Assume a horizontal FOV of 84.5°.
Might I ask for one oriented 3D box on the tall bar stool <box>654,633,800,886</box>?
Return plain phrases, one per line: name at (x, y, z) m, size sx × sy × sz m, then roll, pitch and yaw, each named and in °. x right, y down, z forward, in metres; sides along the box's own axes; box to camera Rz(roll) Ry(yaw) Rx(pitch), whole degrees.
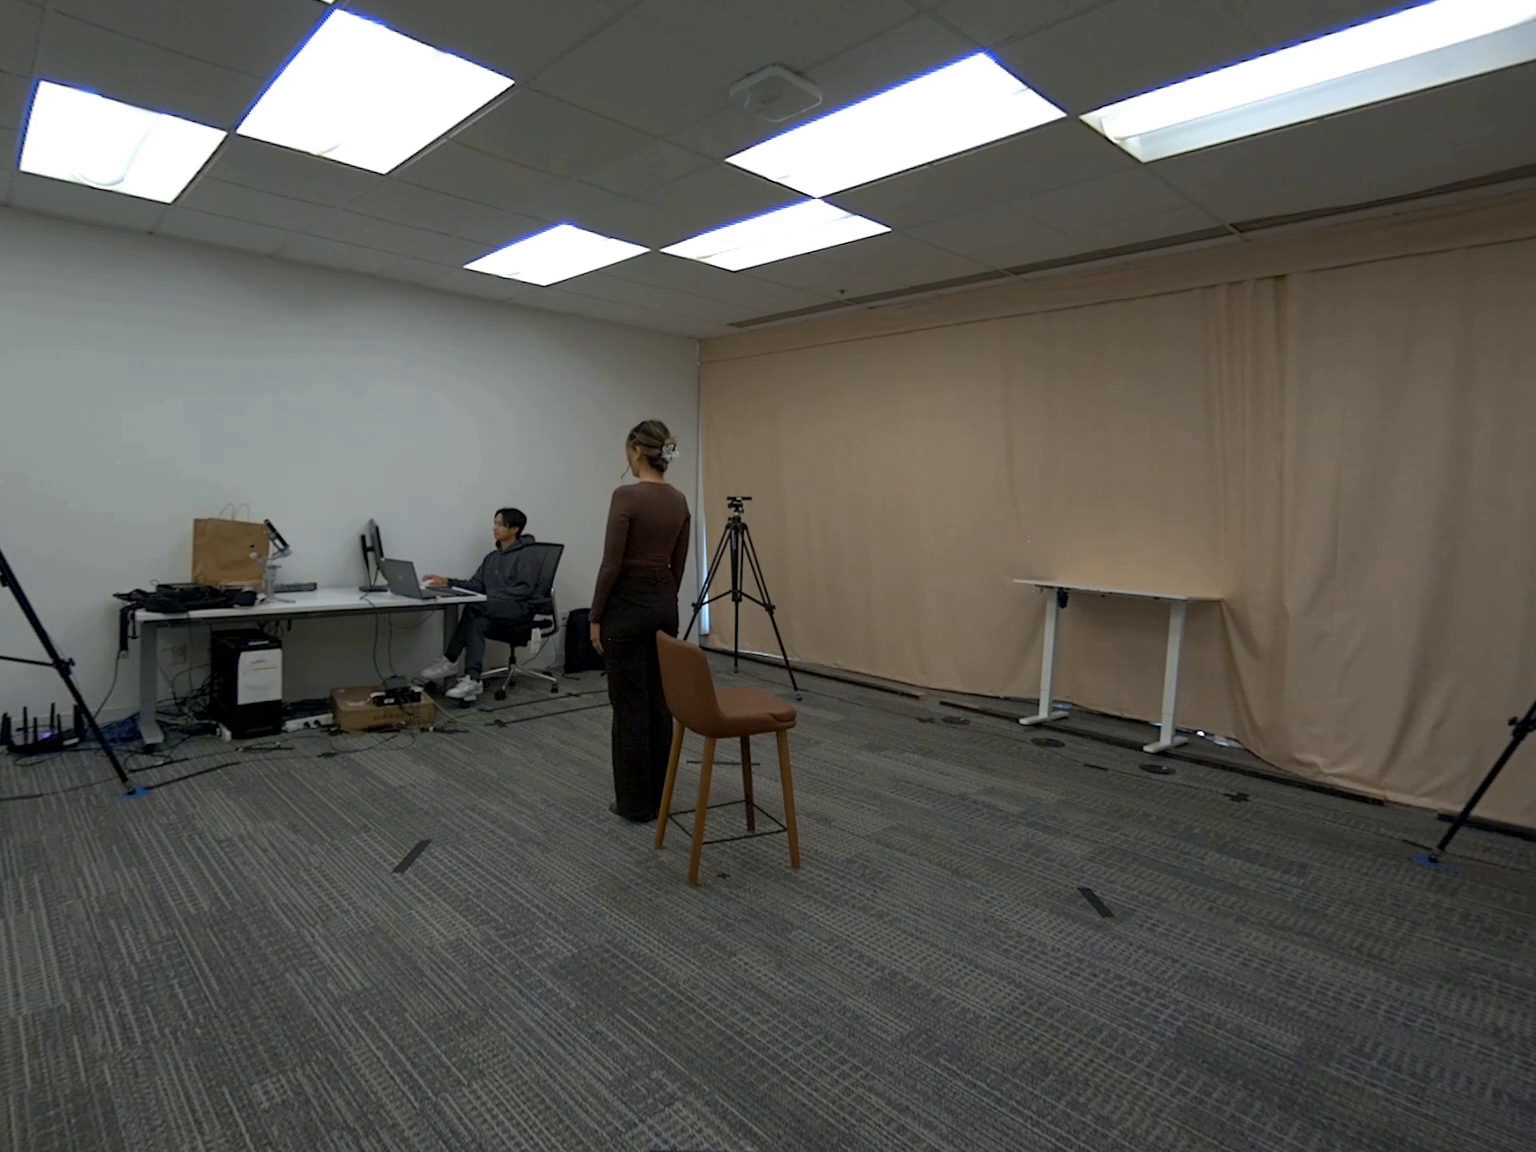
tall bar stool at (-0.168, 0.659, 3.242) m, size 0.459 × 0.887 × 0.466 m, roll -2°, pitch 4°, yaw -27°
